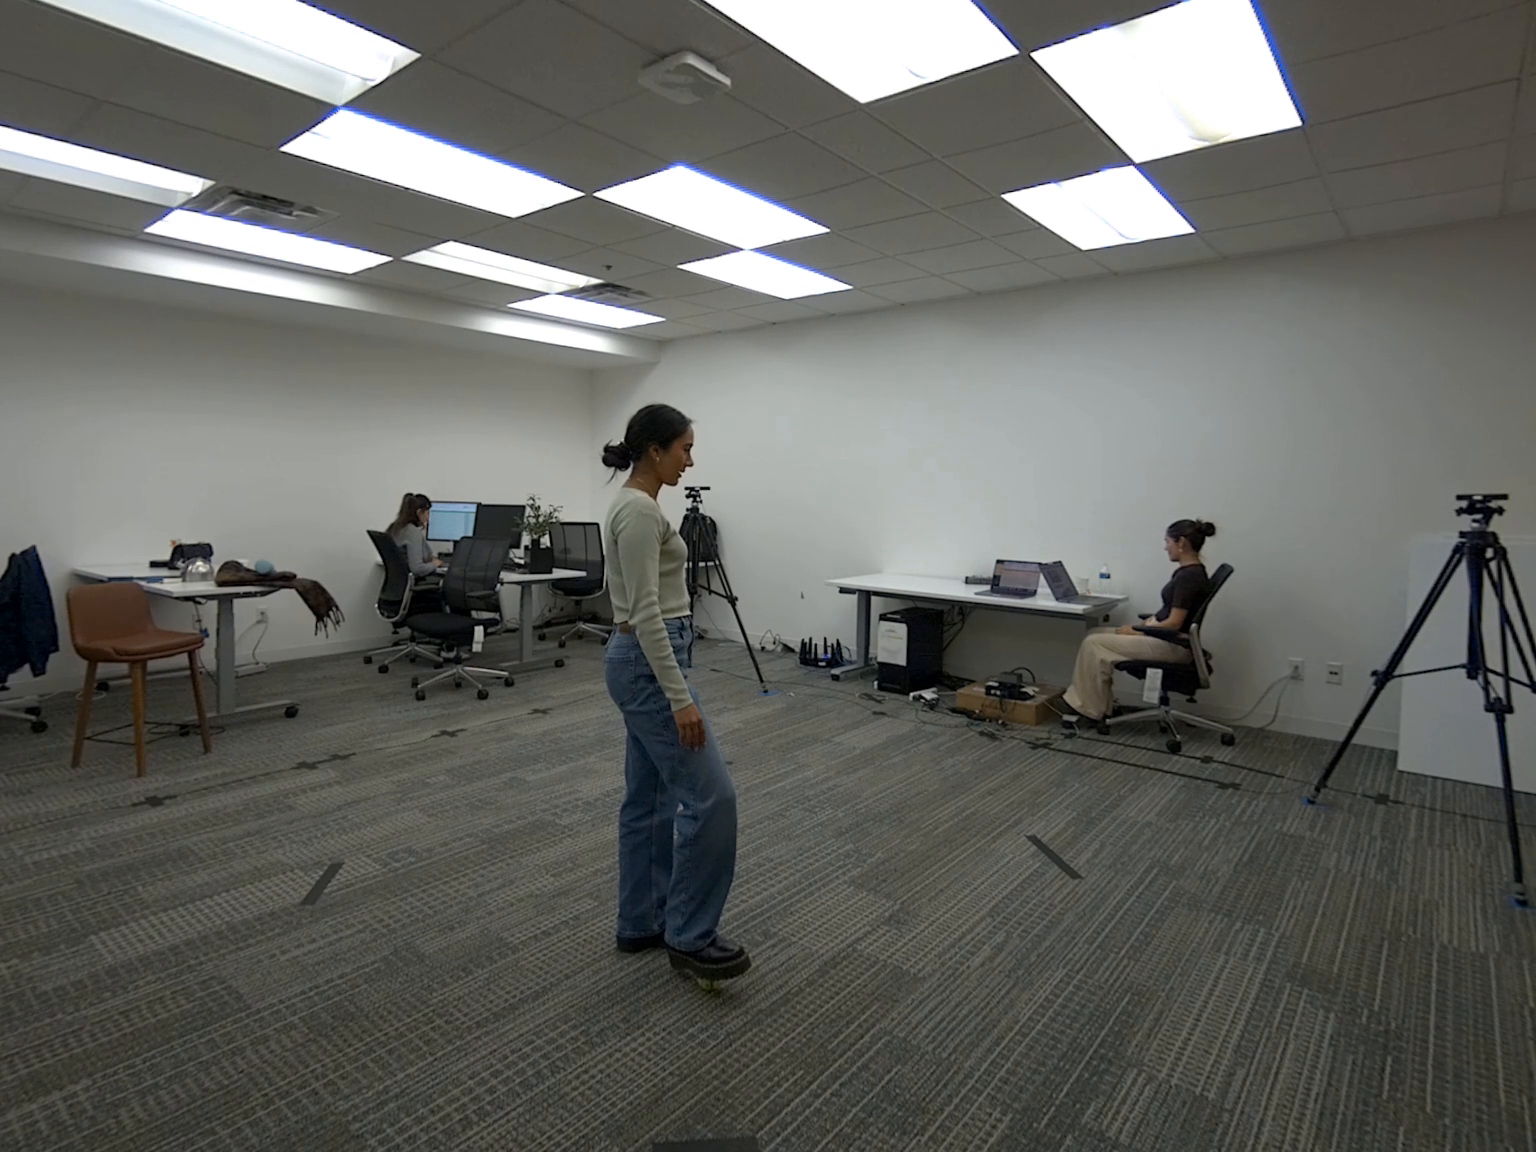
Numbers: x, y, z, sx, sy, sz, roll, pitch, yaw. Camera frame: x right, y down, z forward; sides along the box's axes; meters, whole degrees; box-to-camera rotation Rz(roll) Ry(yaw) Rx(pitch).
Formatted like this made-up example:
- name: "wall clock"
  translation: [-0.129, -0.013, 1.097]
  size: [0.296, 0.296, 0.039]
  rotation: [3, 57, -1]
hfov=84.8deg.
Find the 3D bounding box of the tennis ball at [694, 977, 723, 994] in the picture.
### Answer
- name: "tennis ball"
  translation: [-0.169, 1.122, 2.357]
  size: [0.066, 0.066, 0.067]
  rotation: [1, 4, -2]
